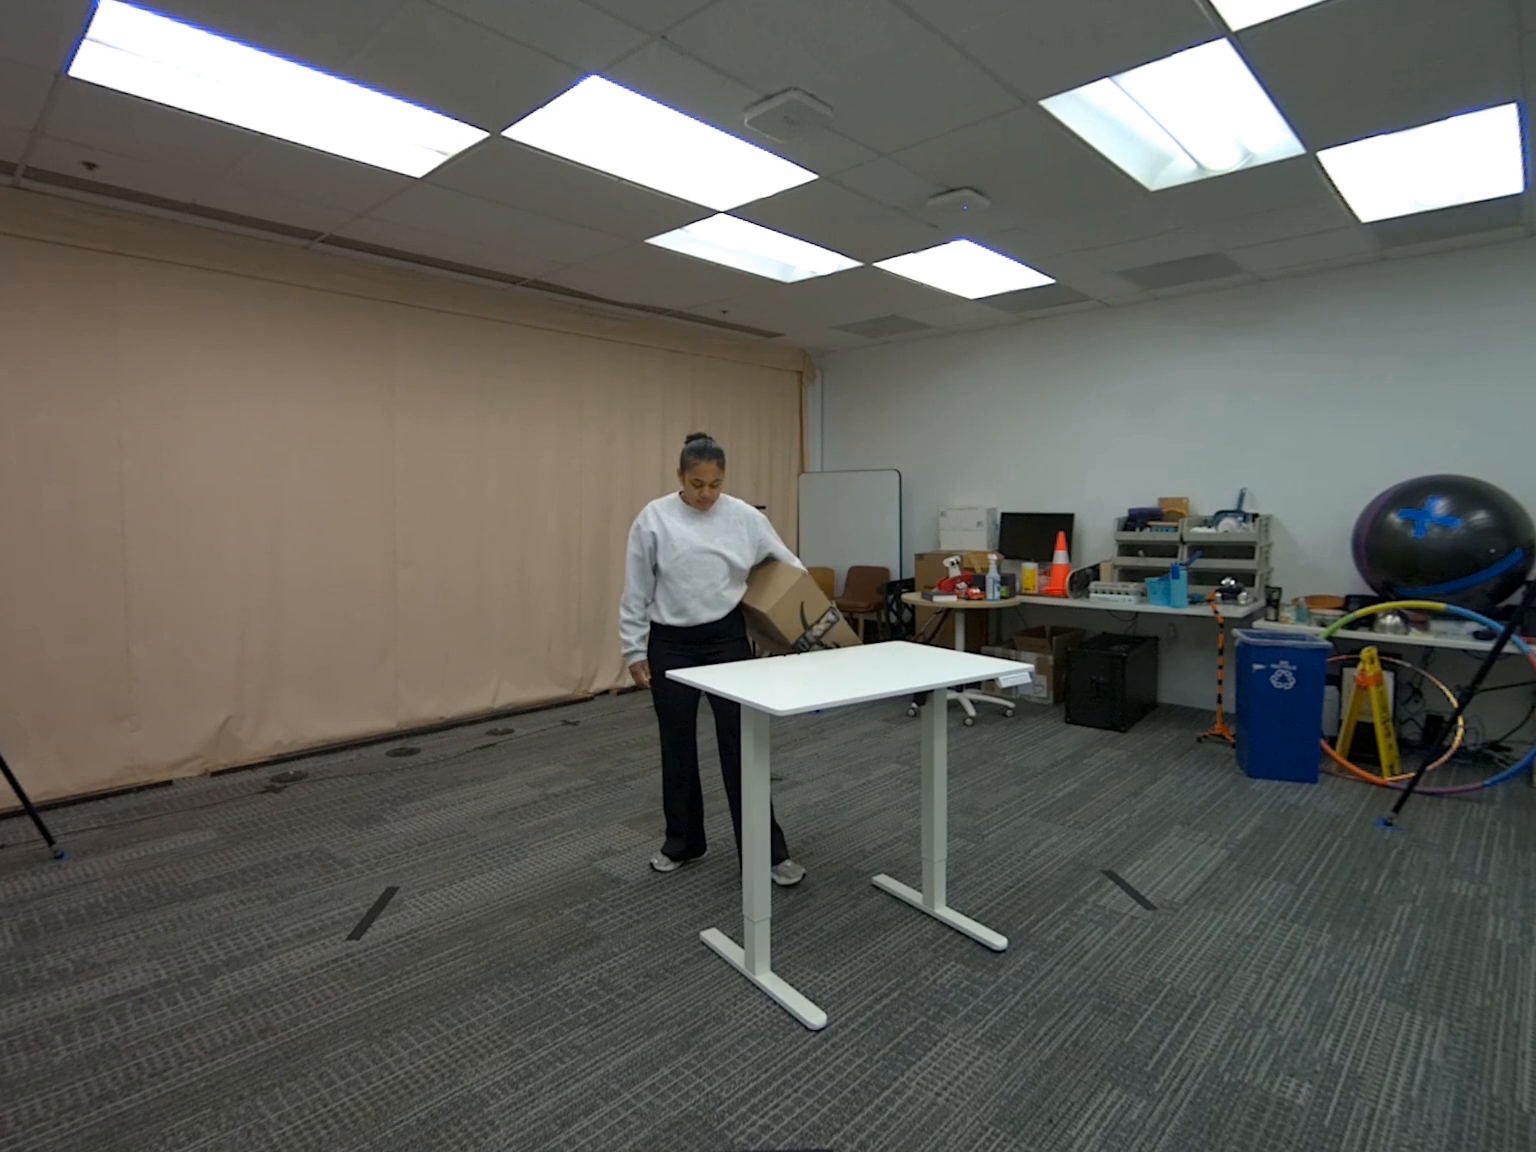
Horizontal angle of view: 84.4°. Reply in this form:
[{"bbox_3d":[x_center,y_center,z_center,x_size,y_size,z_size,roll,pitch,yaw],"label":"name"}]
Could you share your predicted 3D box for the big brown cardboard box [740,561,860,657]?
[{"bbox_3d":[0.051,0.140,3.295,0.232,0.406,0.607,-45,27,-12],"label":"big brown cardboard box"}]
